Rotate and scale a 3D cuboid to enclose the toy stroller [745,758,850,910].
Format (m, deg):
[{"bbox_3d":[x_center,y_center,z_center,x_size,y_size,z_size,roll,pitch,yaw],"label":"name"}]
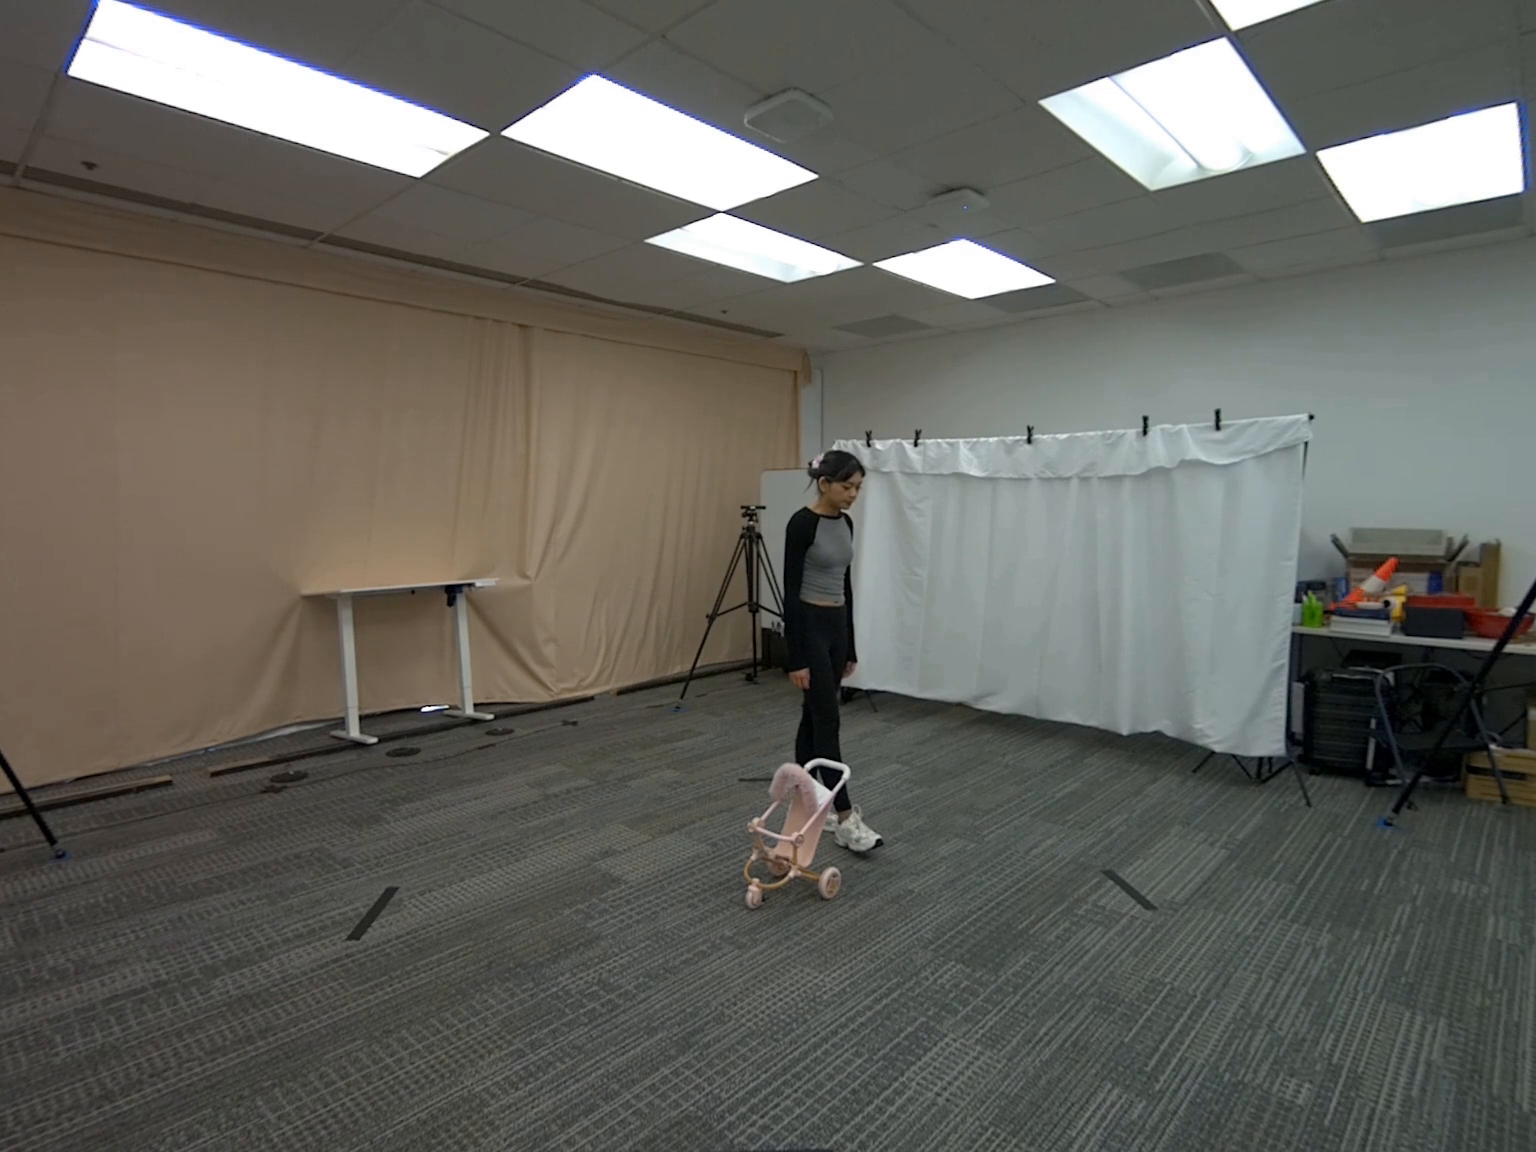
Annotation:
[{"bbox_3d":[0.088,0.915,3.026,0.329,0.536,0.290,18,-9,-38],"label":"toy stroller"}]
